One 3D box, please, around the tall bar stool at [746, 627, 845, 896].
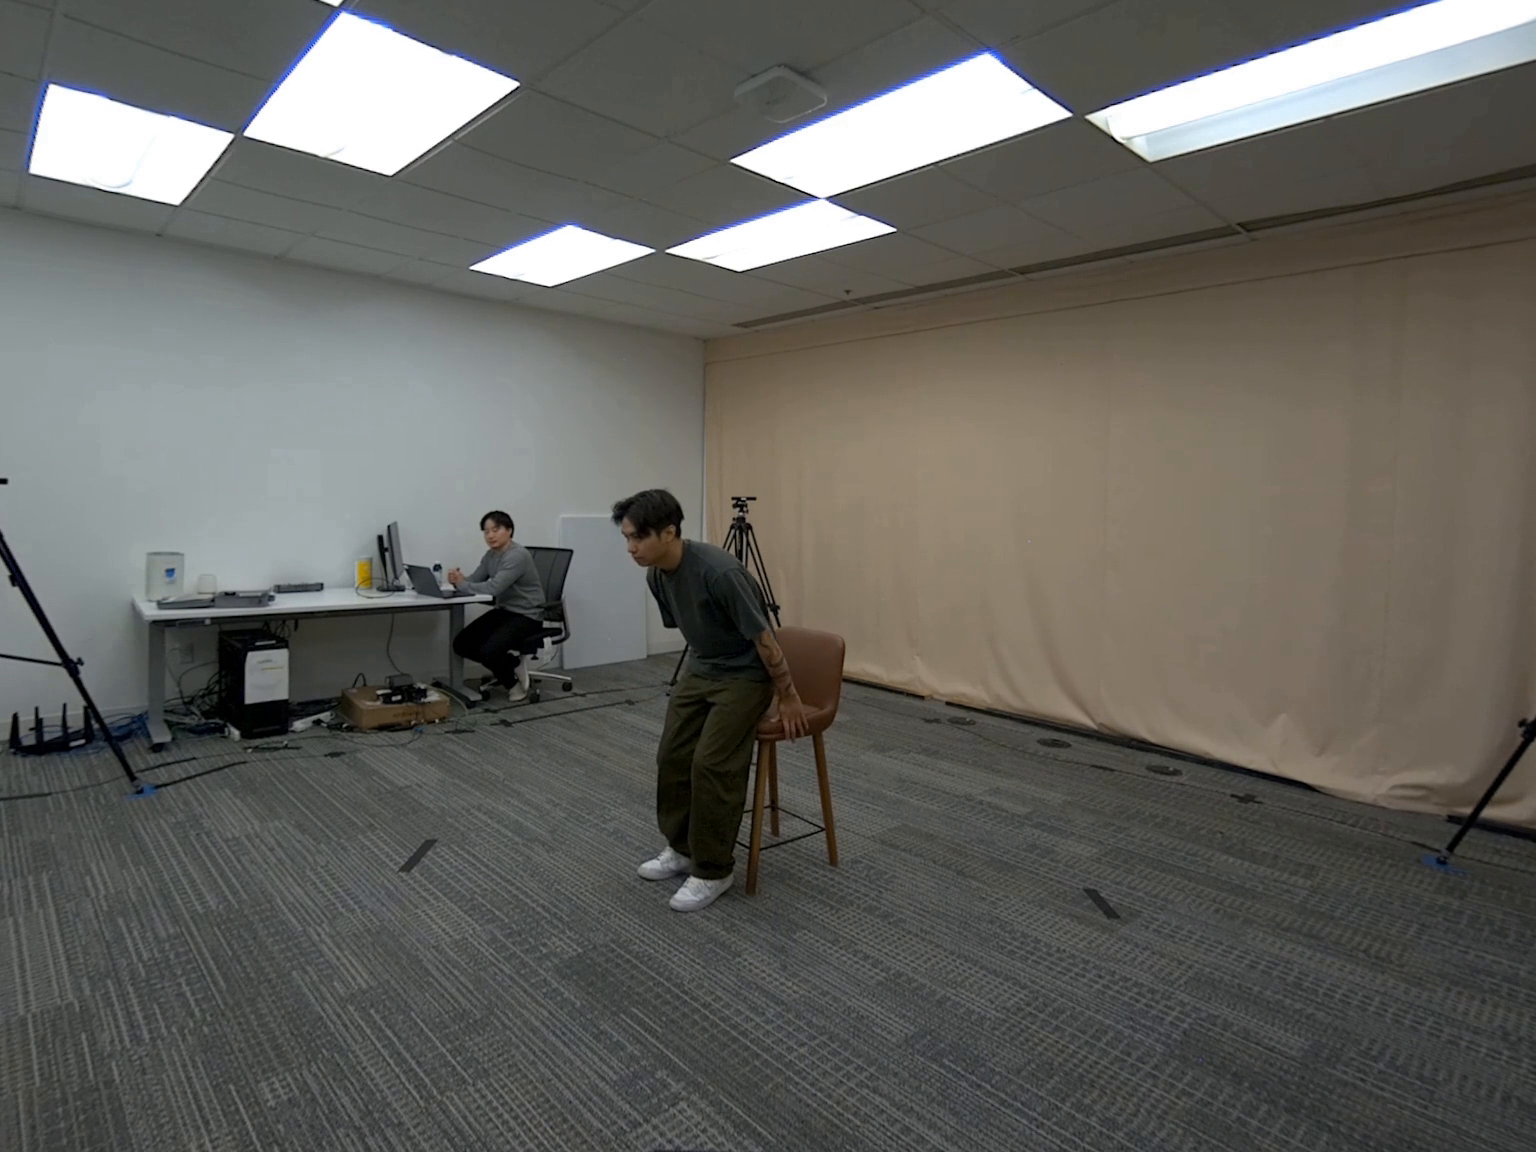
[{"bbox_3d":[-0.007,0.661,3.221,0.457,0.888,0.468,0,3,-40],"label":"tall bar stool"}]
